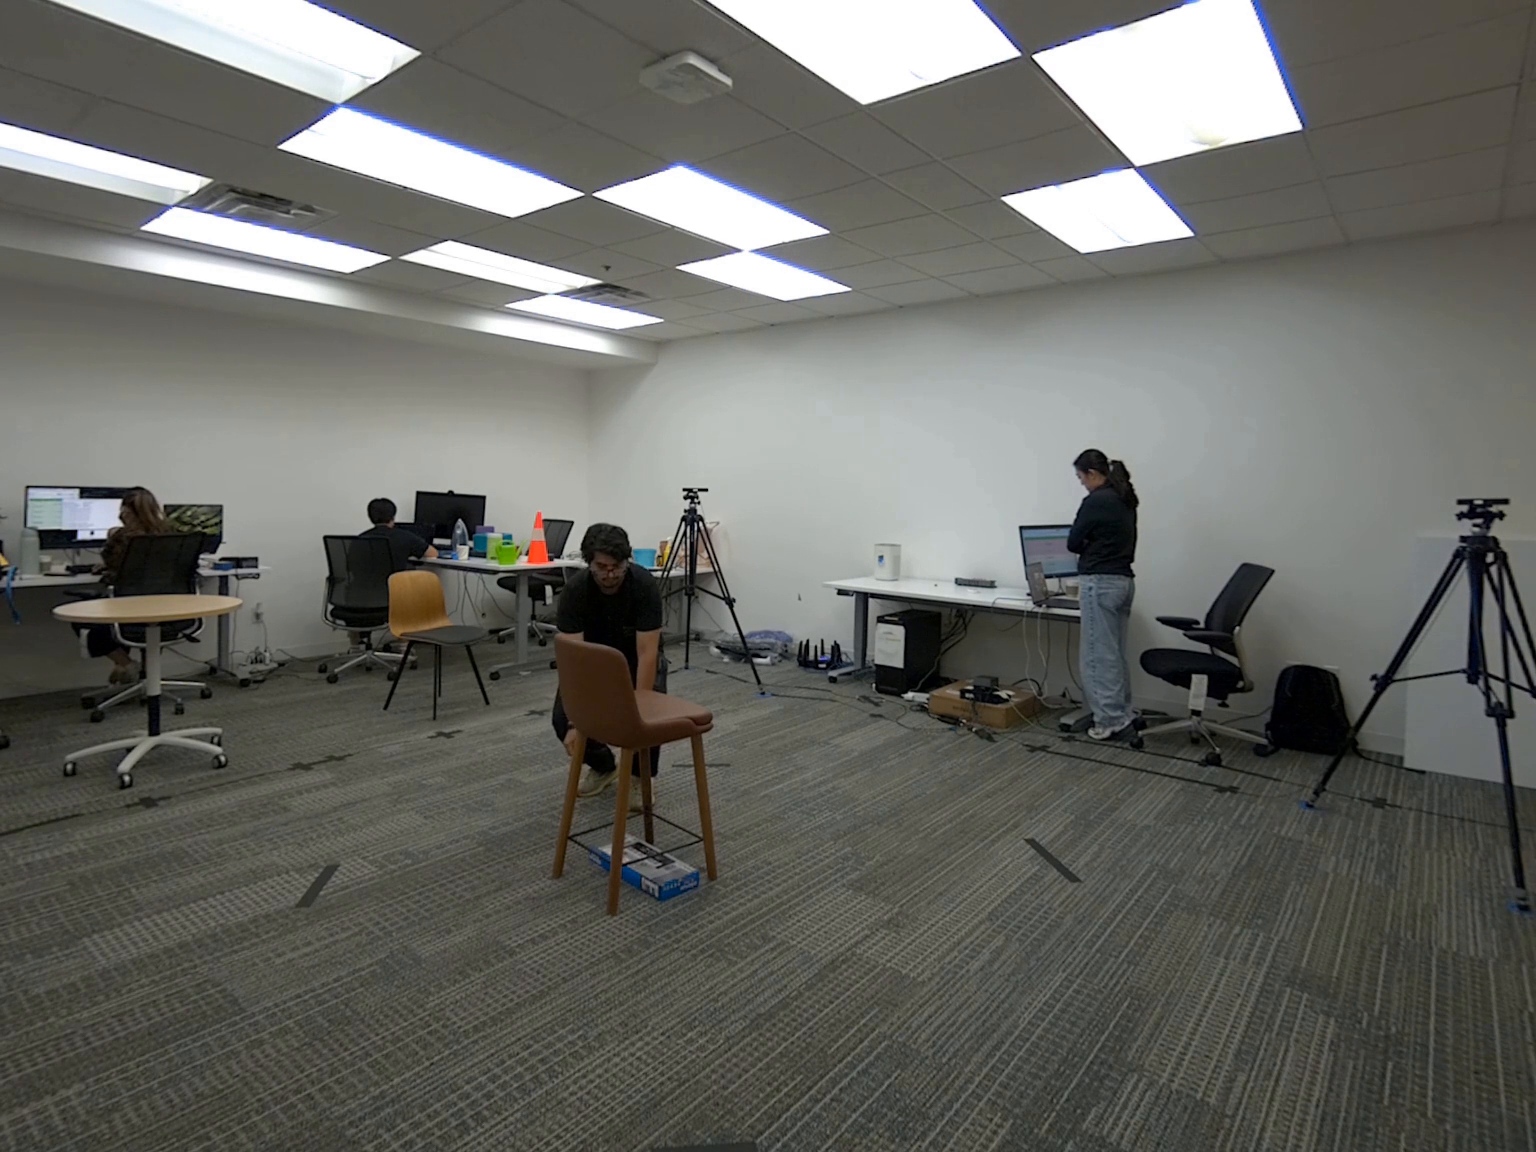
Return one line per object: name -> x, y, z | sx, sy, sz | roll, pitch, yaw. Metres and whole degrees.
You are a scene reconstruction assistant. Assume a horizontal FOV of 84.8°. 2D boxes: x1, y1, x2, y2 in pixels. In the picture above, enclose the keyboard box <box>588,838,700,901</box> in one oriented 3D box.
keyboard box -> -0.467, 1.041, 3.075 | 0.171, 0.059, 0.452 | -5, 8, -43
